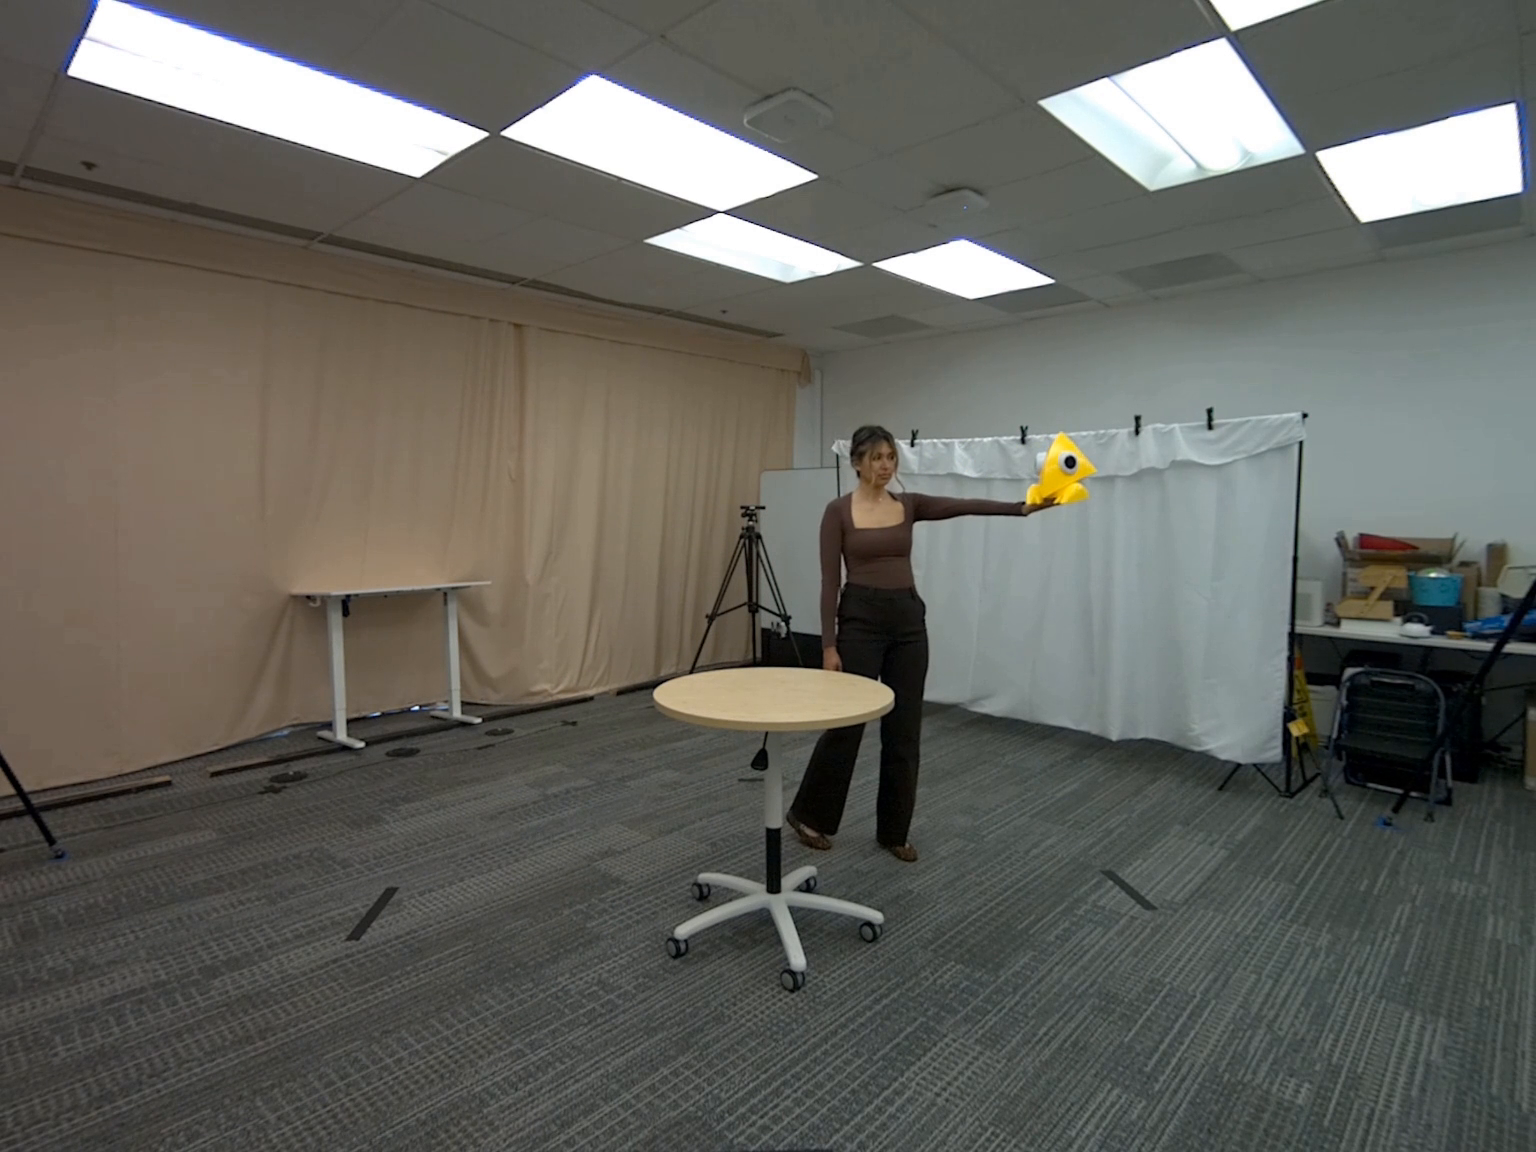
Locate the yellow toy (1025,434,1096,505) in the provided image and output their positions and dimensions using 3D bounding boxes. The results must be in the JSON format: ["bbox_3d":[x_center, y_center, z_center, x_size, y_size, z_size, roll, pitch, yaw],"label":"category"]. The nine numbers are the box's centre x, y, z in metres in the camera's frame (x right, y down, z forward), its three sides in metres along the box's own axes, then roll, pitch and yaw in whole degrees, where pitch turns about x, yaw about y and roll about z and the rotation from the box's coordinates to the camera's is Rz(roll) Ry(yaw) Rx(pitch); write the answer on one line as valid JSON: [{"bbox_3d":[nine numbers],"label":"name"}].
[{"bbox_3d":[1.020,-0.381,2.947,0.188,0.229,0.211,-17,14,-38],"label":"yellow toy"}]
